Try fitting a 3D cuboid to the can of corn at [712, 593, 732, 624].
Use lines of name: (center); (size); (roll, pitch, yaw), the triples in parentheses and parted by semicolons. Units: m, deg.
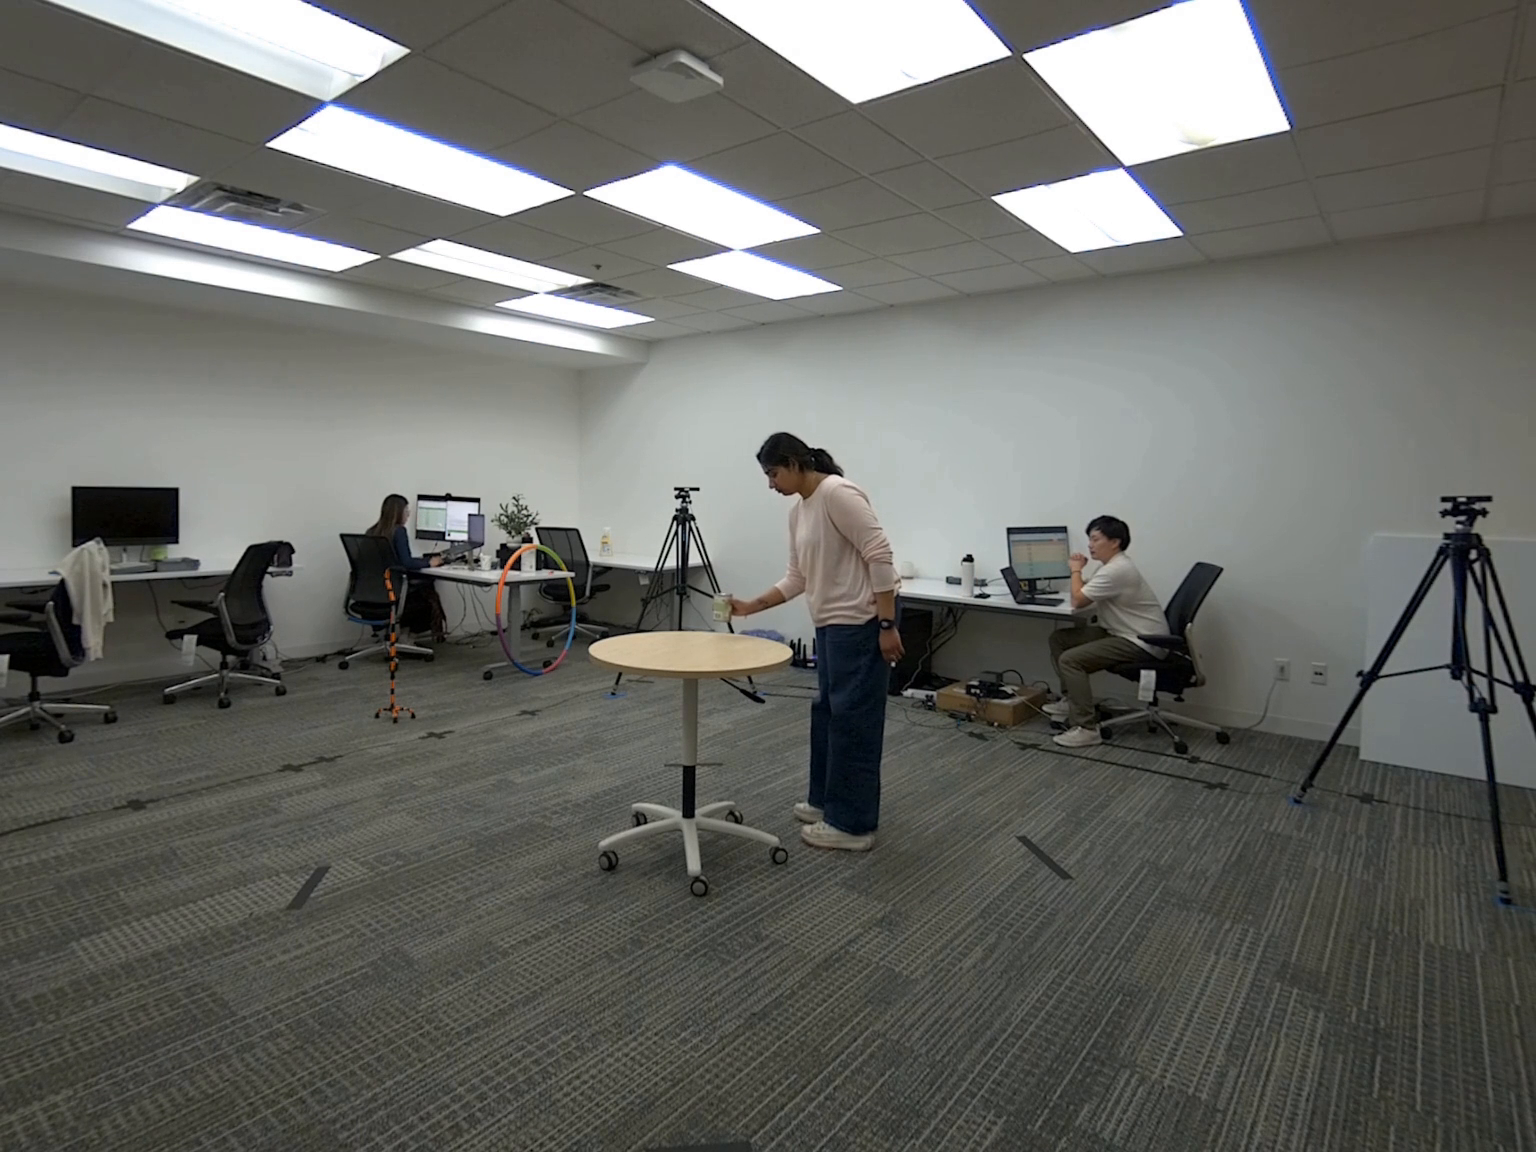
can of corn: (-0.198, 0.125, 3.500); (0.074, 0.111, 0.074); (5, 2, -2)
